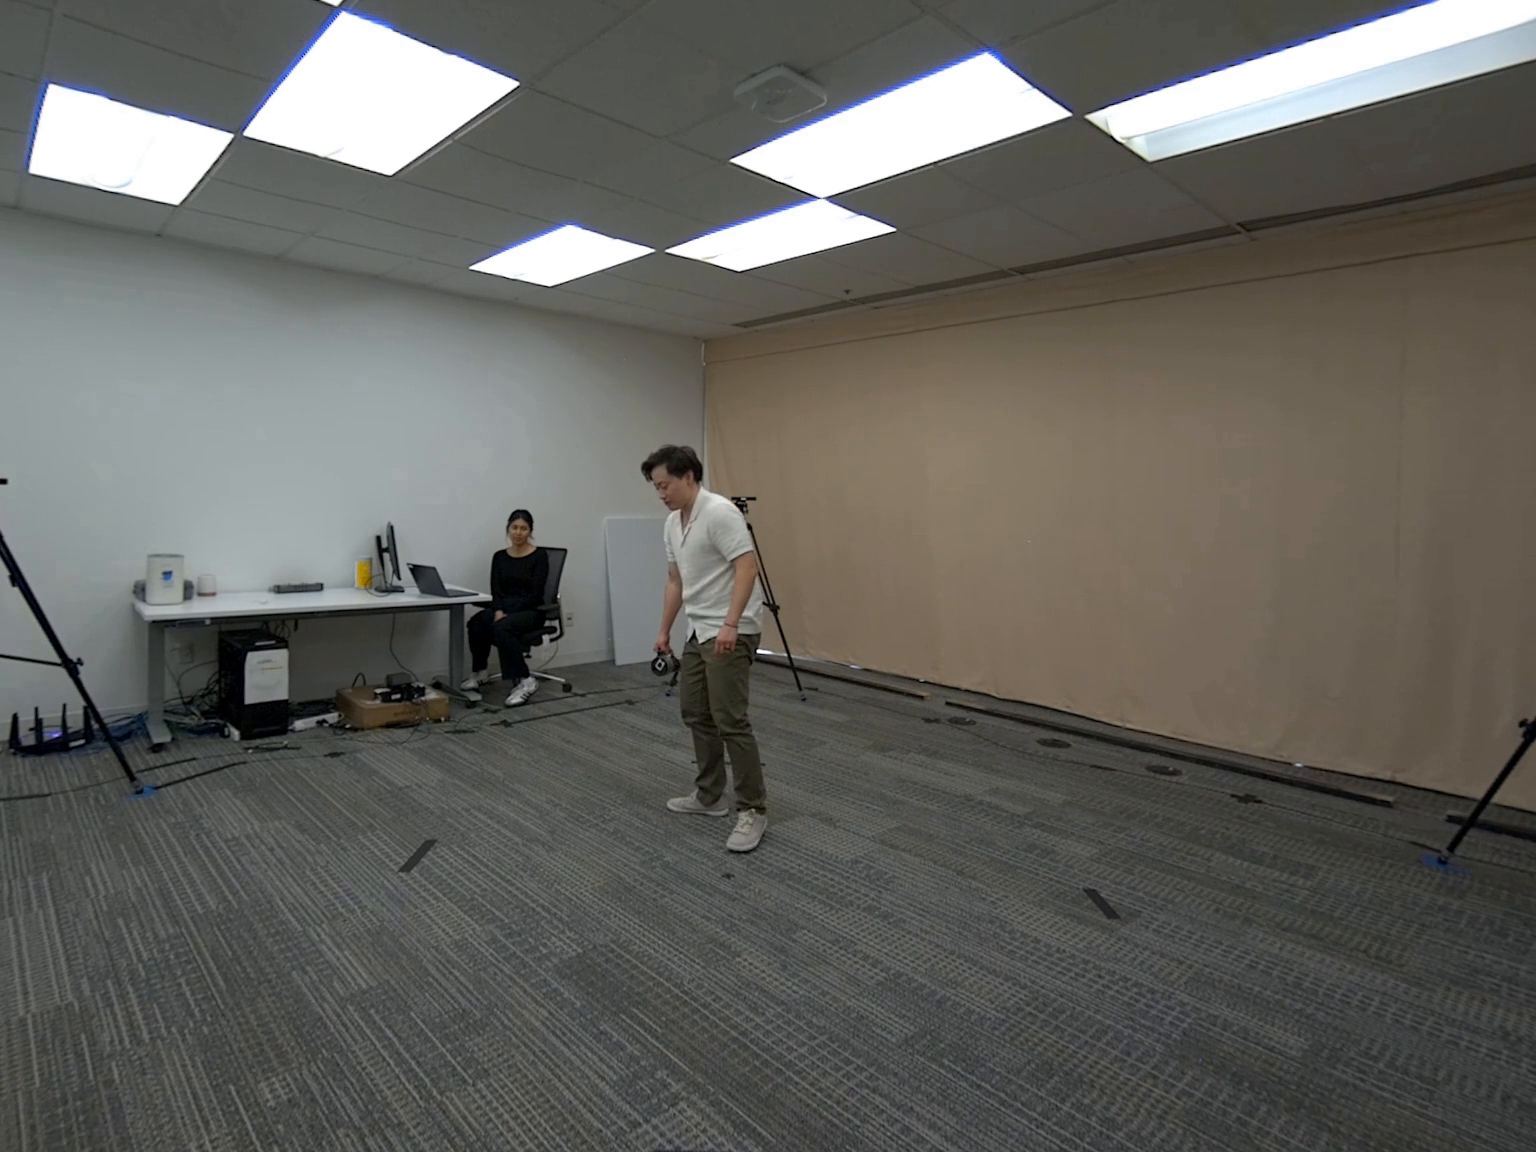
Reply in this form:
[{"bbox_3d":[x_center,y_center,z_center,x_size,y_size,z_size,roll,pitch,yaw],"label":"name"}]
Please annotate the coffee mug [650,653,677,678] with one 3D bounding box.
[{"bbox_3d":[-0.451,0.390,3.868,0.089,0.122,0.199,-3,0,31],"label":"coffee mug"}]
